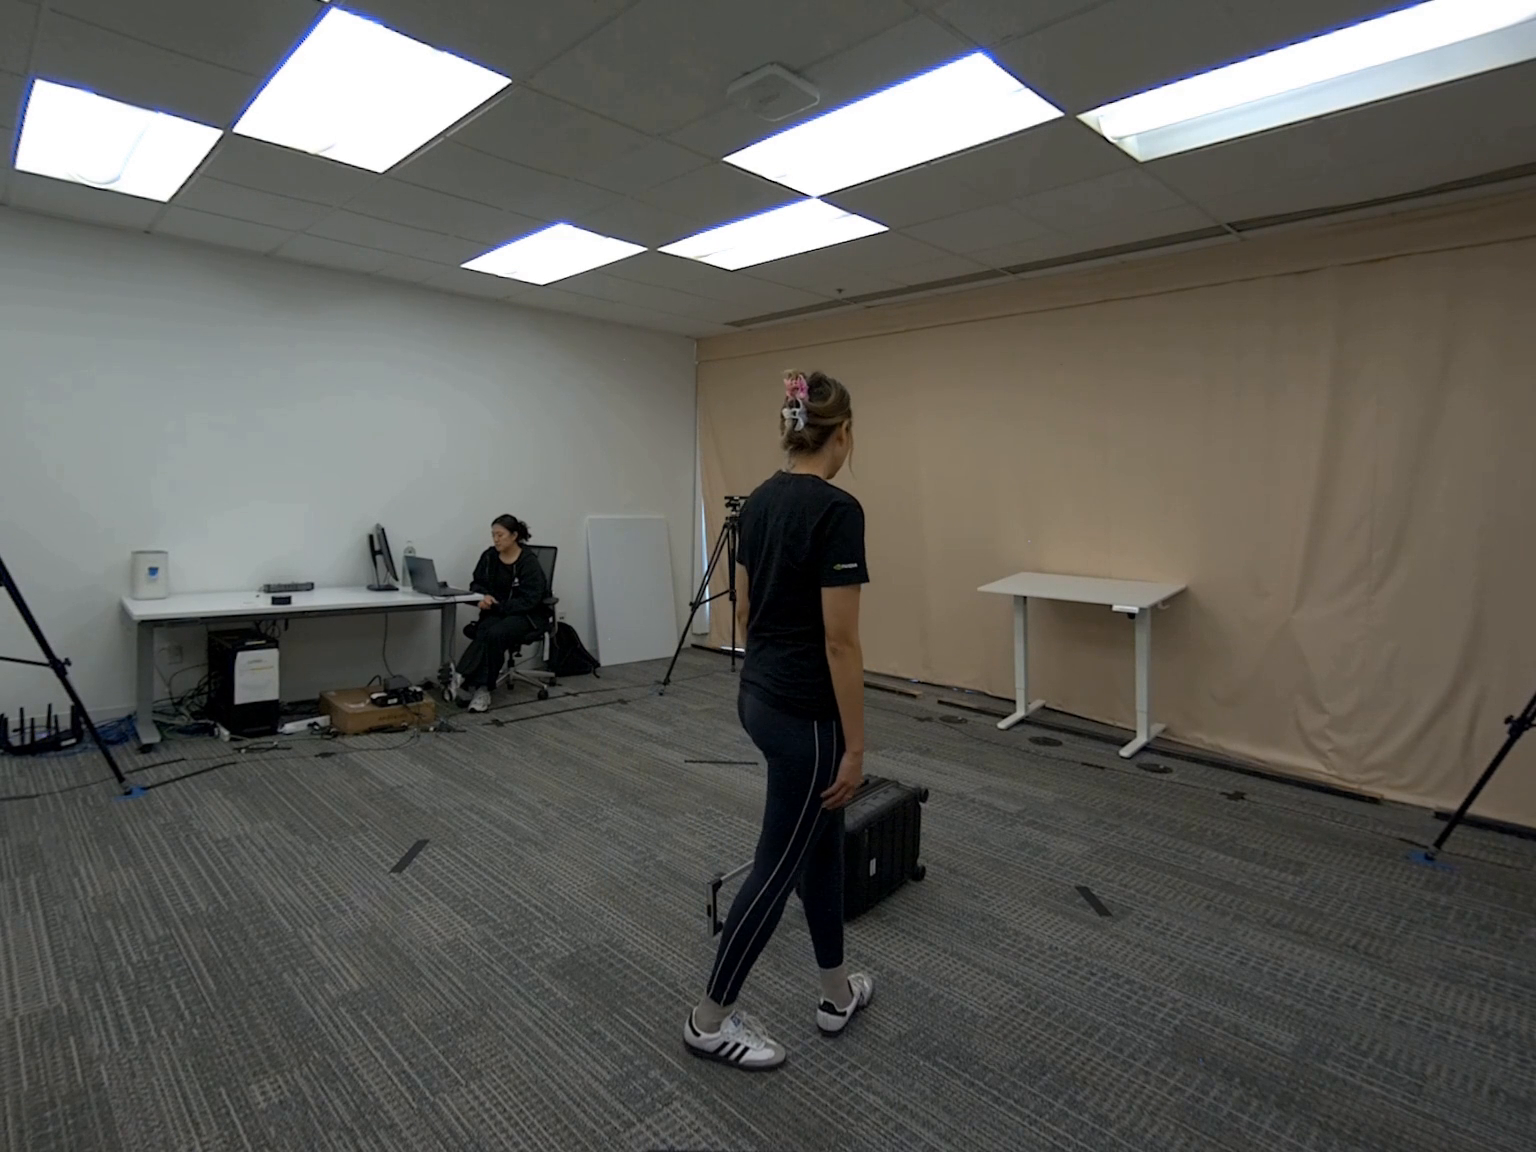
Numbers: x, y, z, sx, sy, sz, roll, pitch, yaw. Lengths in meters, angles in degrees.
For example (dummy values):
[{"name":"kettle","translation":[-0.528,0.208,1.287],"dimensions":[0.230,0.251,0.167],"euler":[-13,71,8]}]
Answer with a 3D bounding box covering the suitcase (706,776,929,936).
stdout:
[{"name":"suitcase","translation":[0.205,0.952,2.807],"dimensions":[0.263,0.383,0.958],"euler":[4,6,36]}]
